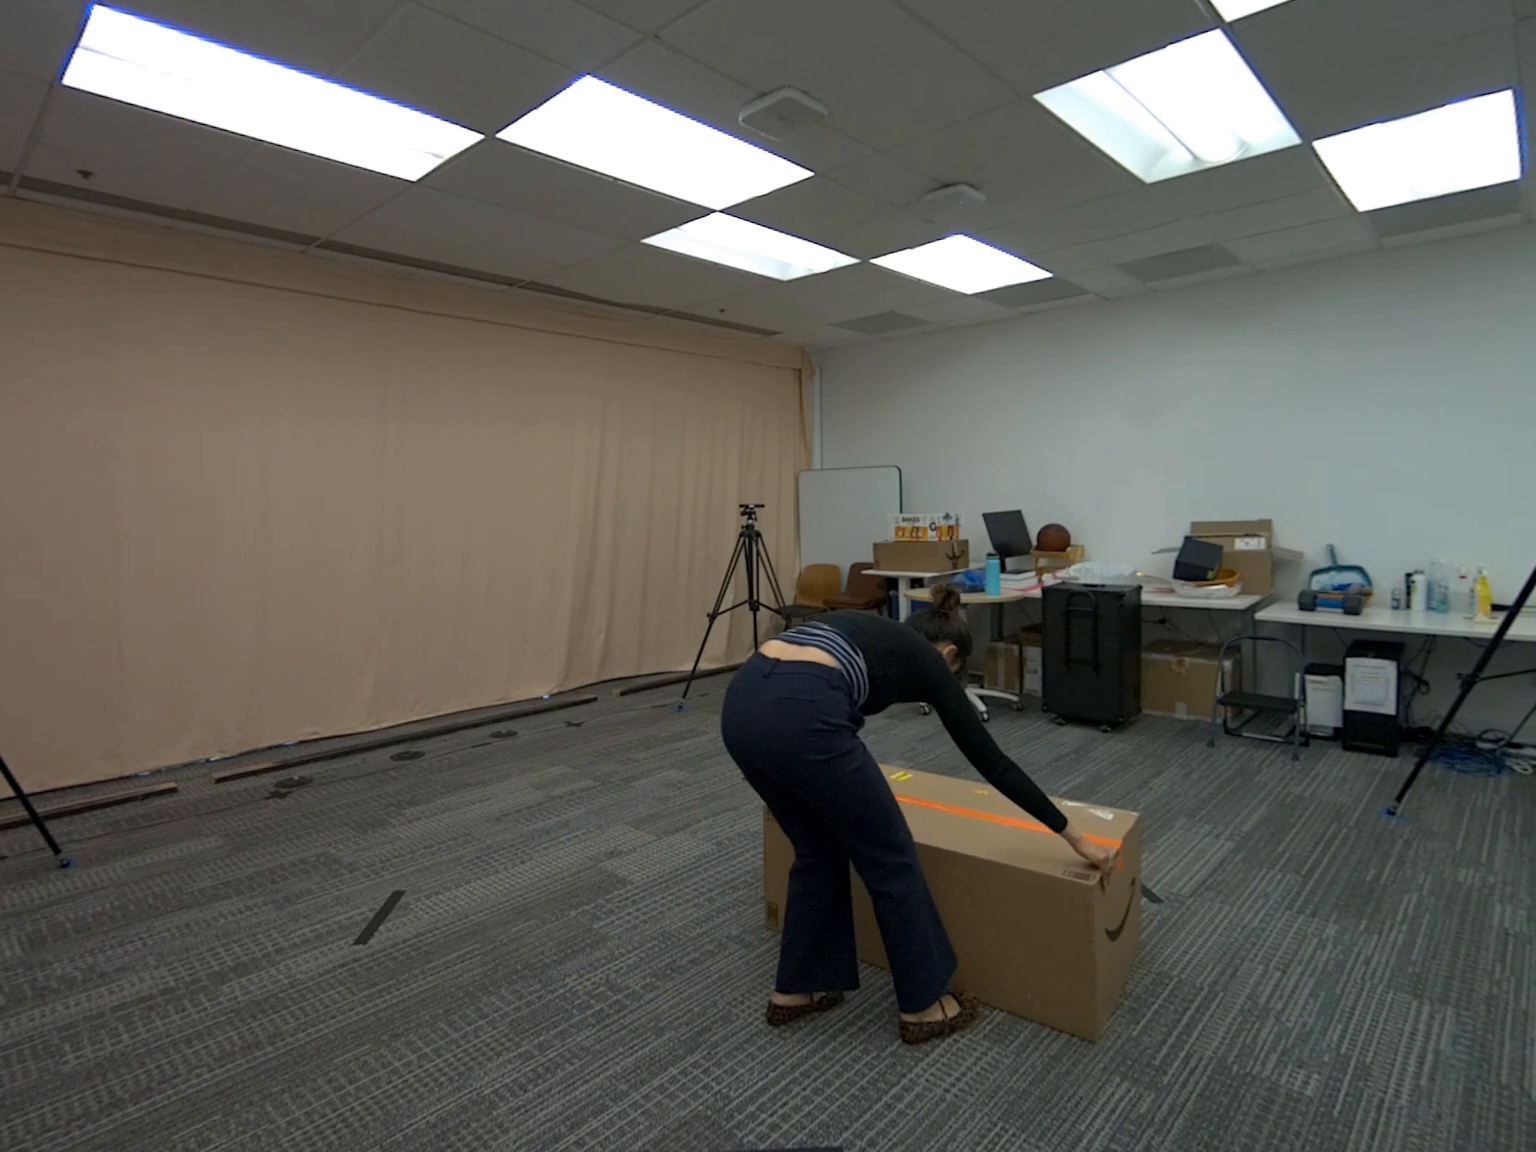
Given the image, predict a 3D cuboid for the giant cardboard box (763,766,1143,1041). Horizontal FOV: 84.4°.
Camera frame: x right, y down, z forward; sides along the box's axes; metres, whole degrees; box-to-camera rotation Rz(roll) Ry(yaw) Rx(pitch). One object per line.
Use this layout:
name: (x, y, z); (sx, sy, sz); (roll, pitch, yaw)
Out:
giant cardboard box: (0.569, 0.942, 2.670); (1.058, 0.425, 0.561); (3, 5, 36)
